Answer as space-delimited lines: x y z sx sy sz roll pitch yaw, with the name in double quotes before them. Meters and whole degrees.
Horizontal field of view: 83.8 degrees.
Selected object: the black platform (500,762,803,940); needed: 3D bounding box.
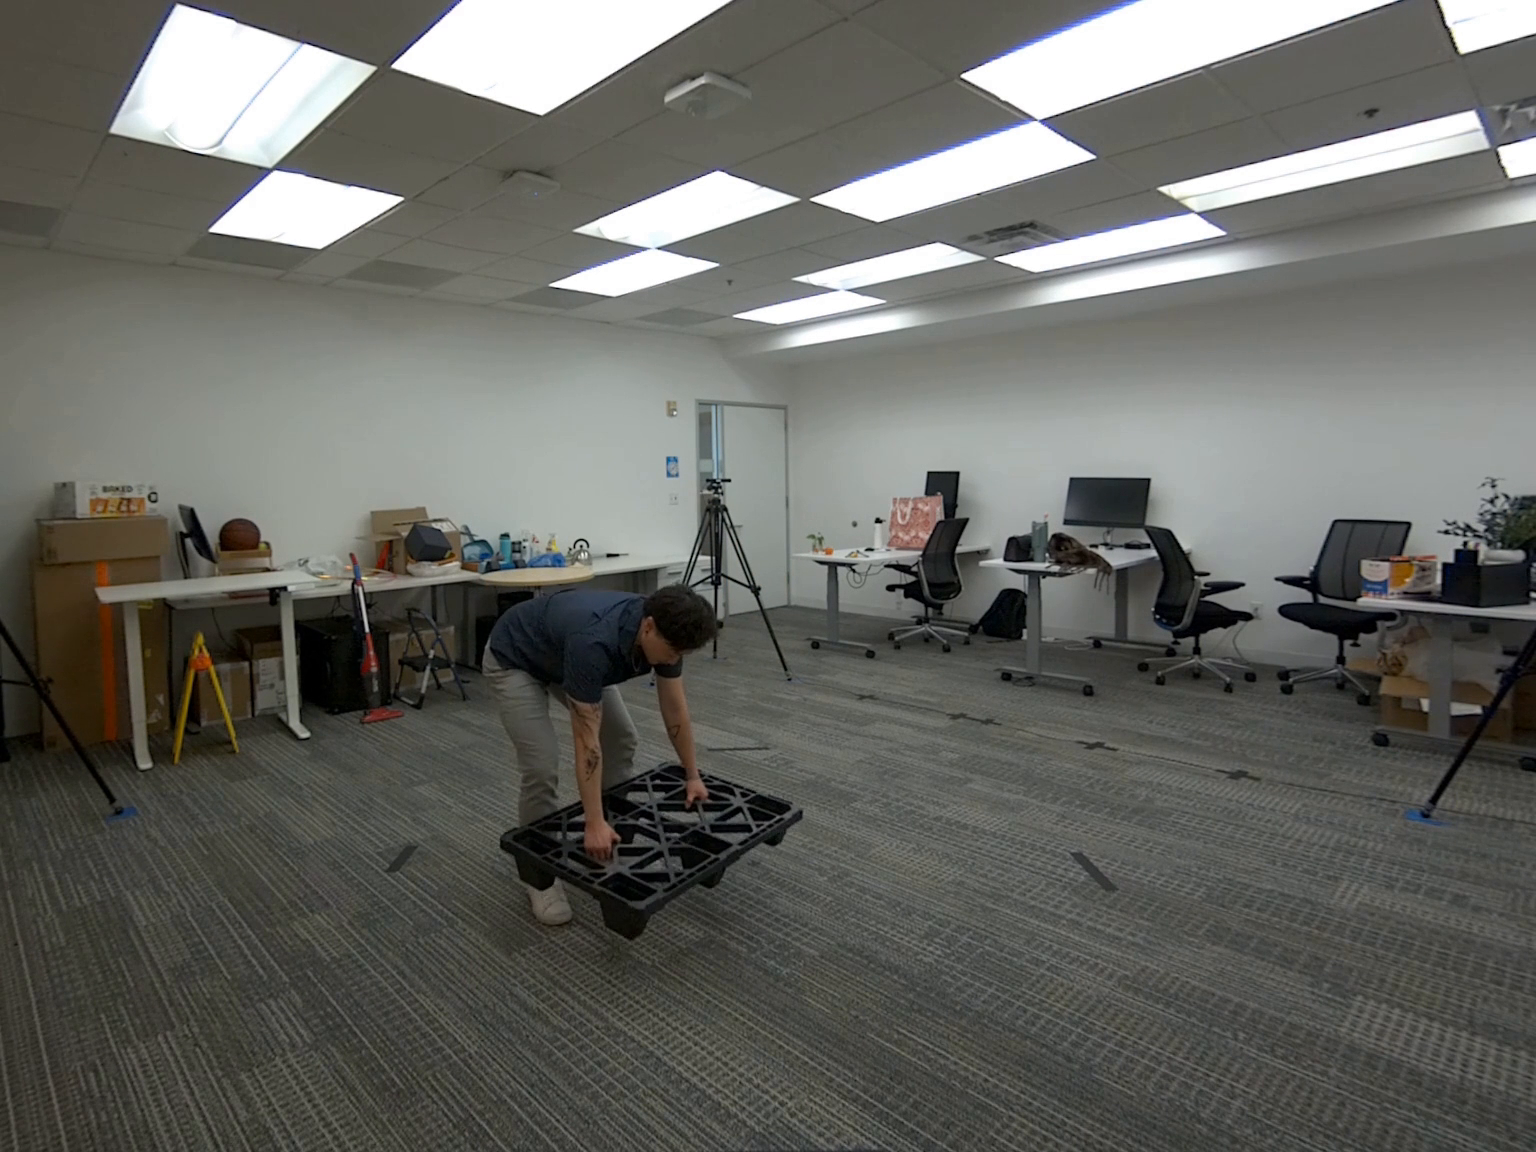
"black platform" -0.350 0.844 2.726 0.624 0.142 0.786 9 12 36
